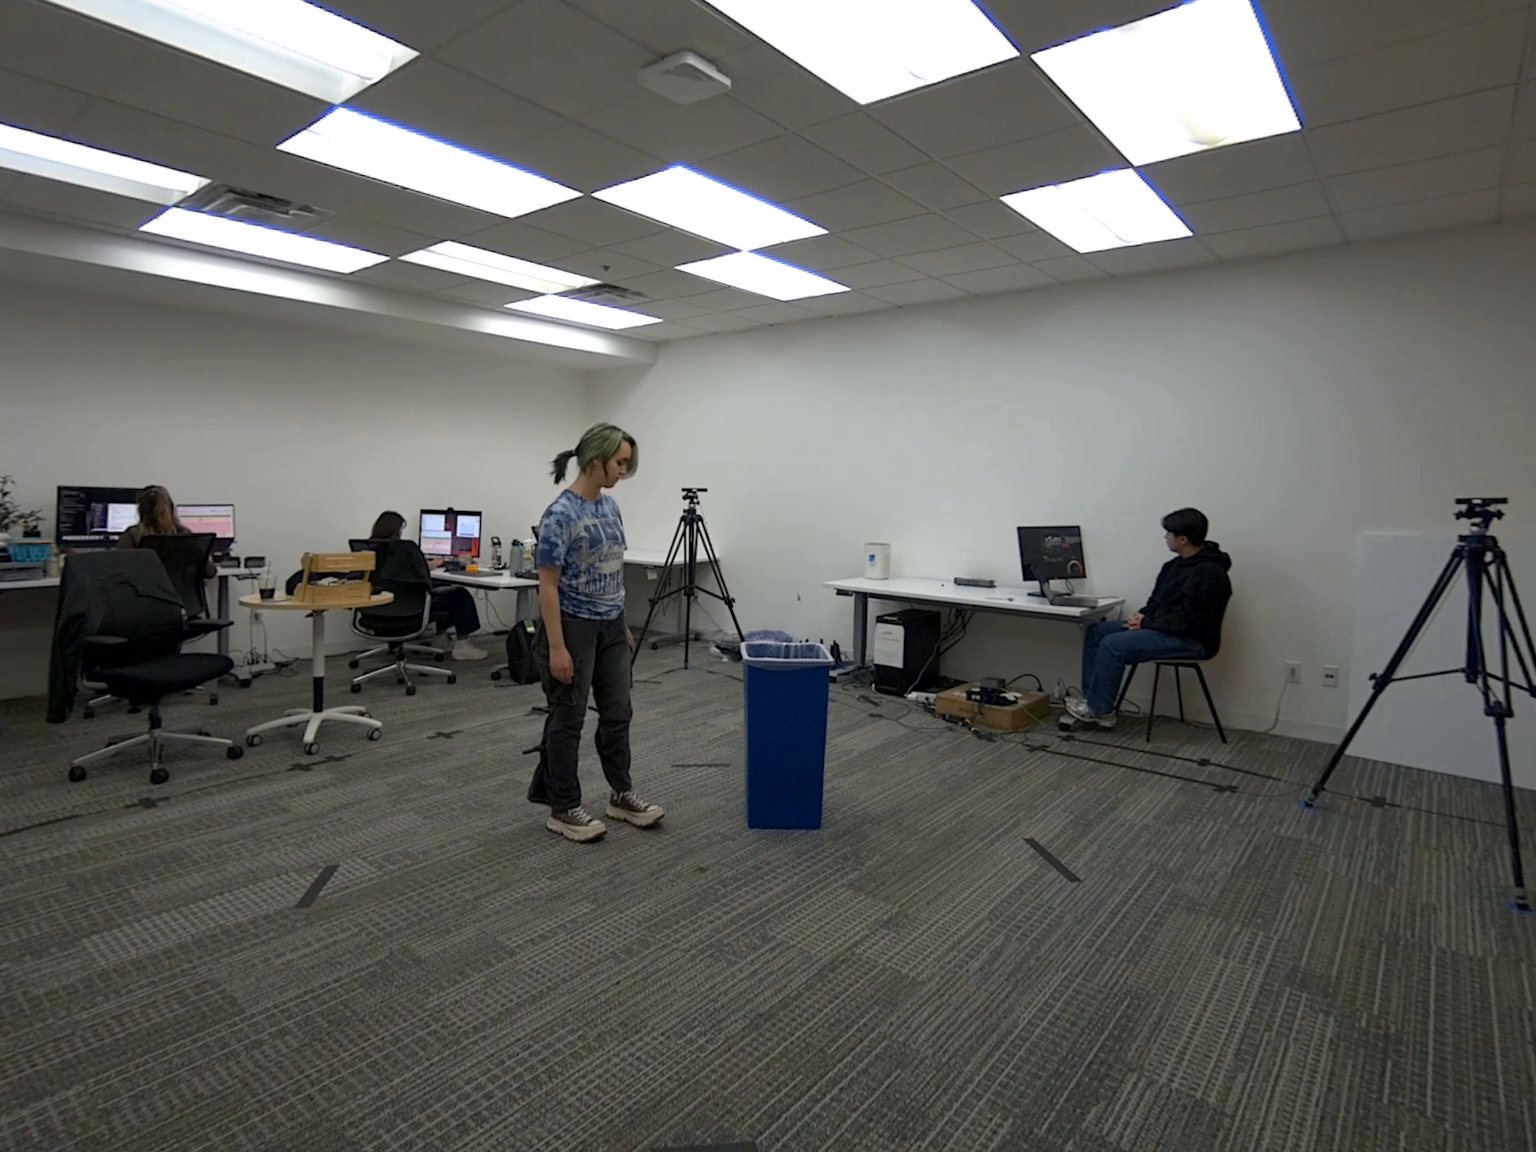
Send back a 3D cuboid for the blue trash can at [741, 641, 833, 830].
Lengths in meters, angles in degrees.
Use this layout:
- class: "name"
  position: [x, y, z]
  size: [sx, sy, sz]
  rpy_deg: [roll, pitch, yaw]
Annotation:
- class: "blue trash can"
  position: [0.058, 0.672, 3.621]
  size: [0.378, 0.711, 0.376]
  rpy_deg: [1, 4, -2]
